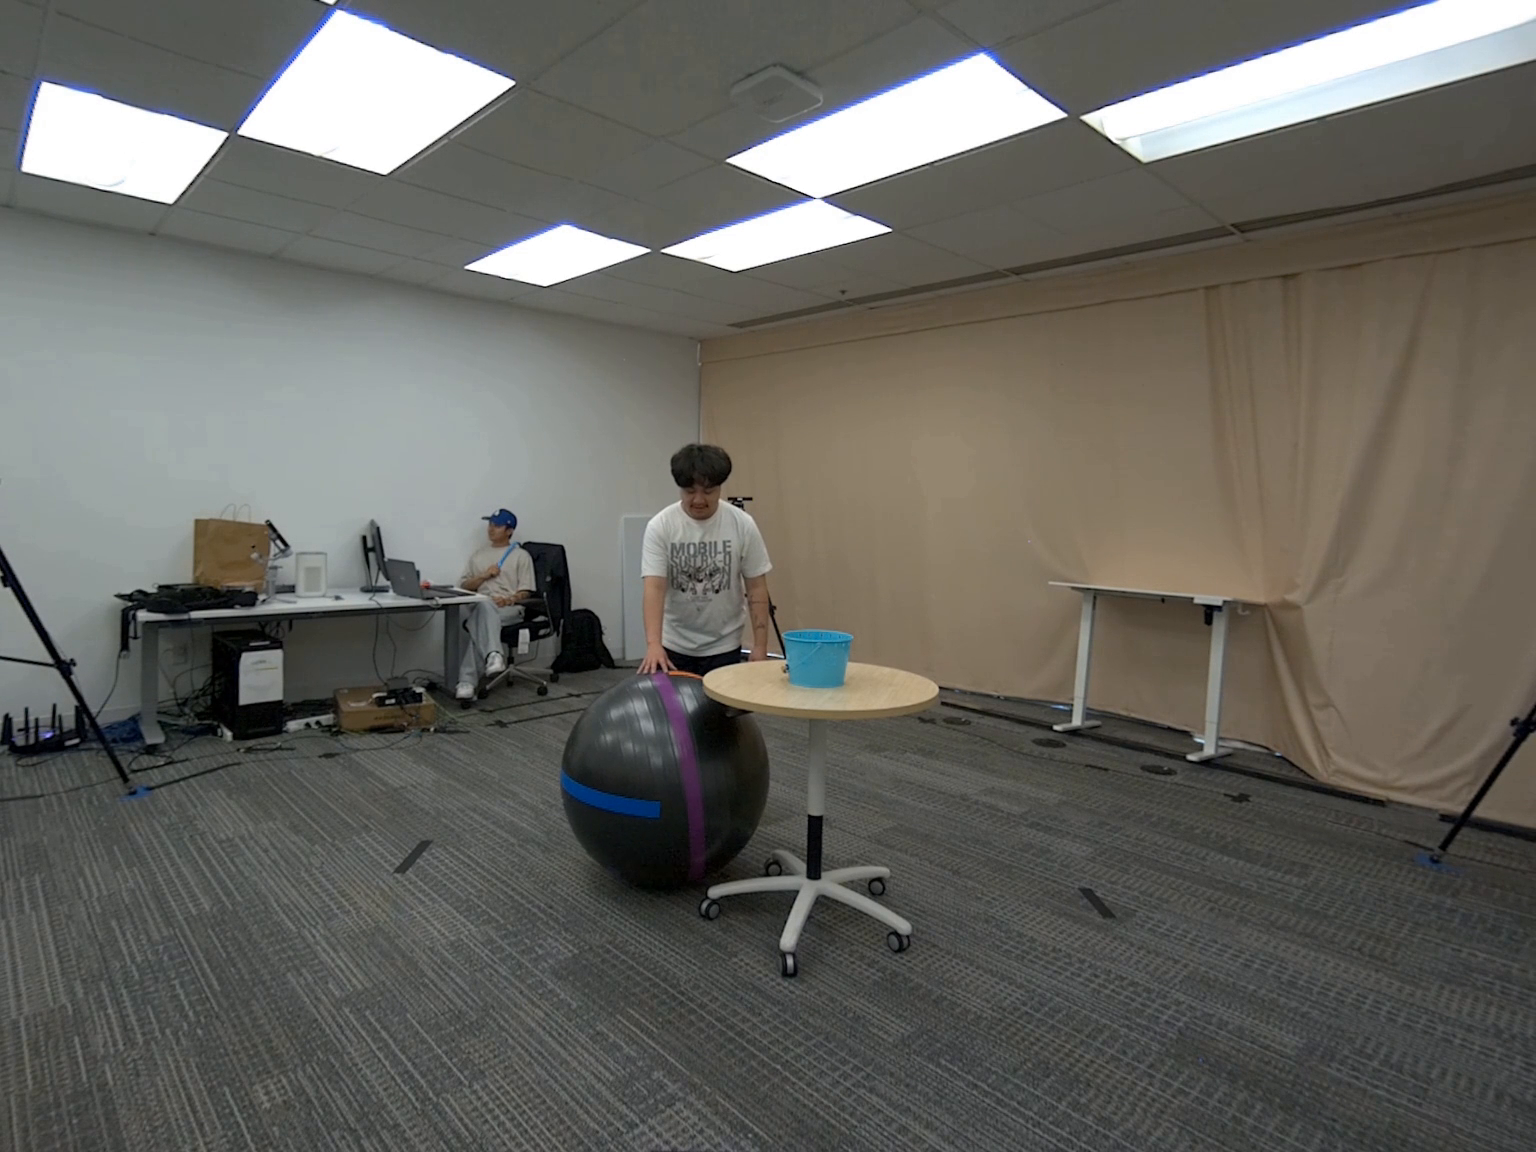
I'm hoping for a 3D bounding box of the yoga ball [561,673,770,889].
[{"bbox_3d":[-0.381,0.733,3.082,0.757,0.756,0.761,1,4,-1],"label":"yoga ball"}]
